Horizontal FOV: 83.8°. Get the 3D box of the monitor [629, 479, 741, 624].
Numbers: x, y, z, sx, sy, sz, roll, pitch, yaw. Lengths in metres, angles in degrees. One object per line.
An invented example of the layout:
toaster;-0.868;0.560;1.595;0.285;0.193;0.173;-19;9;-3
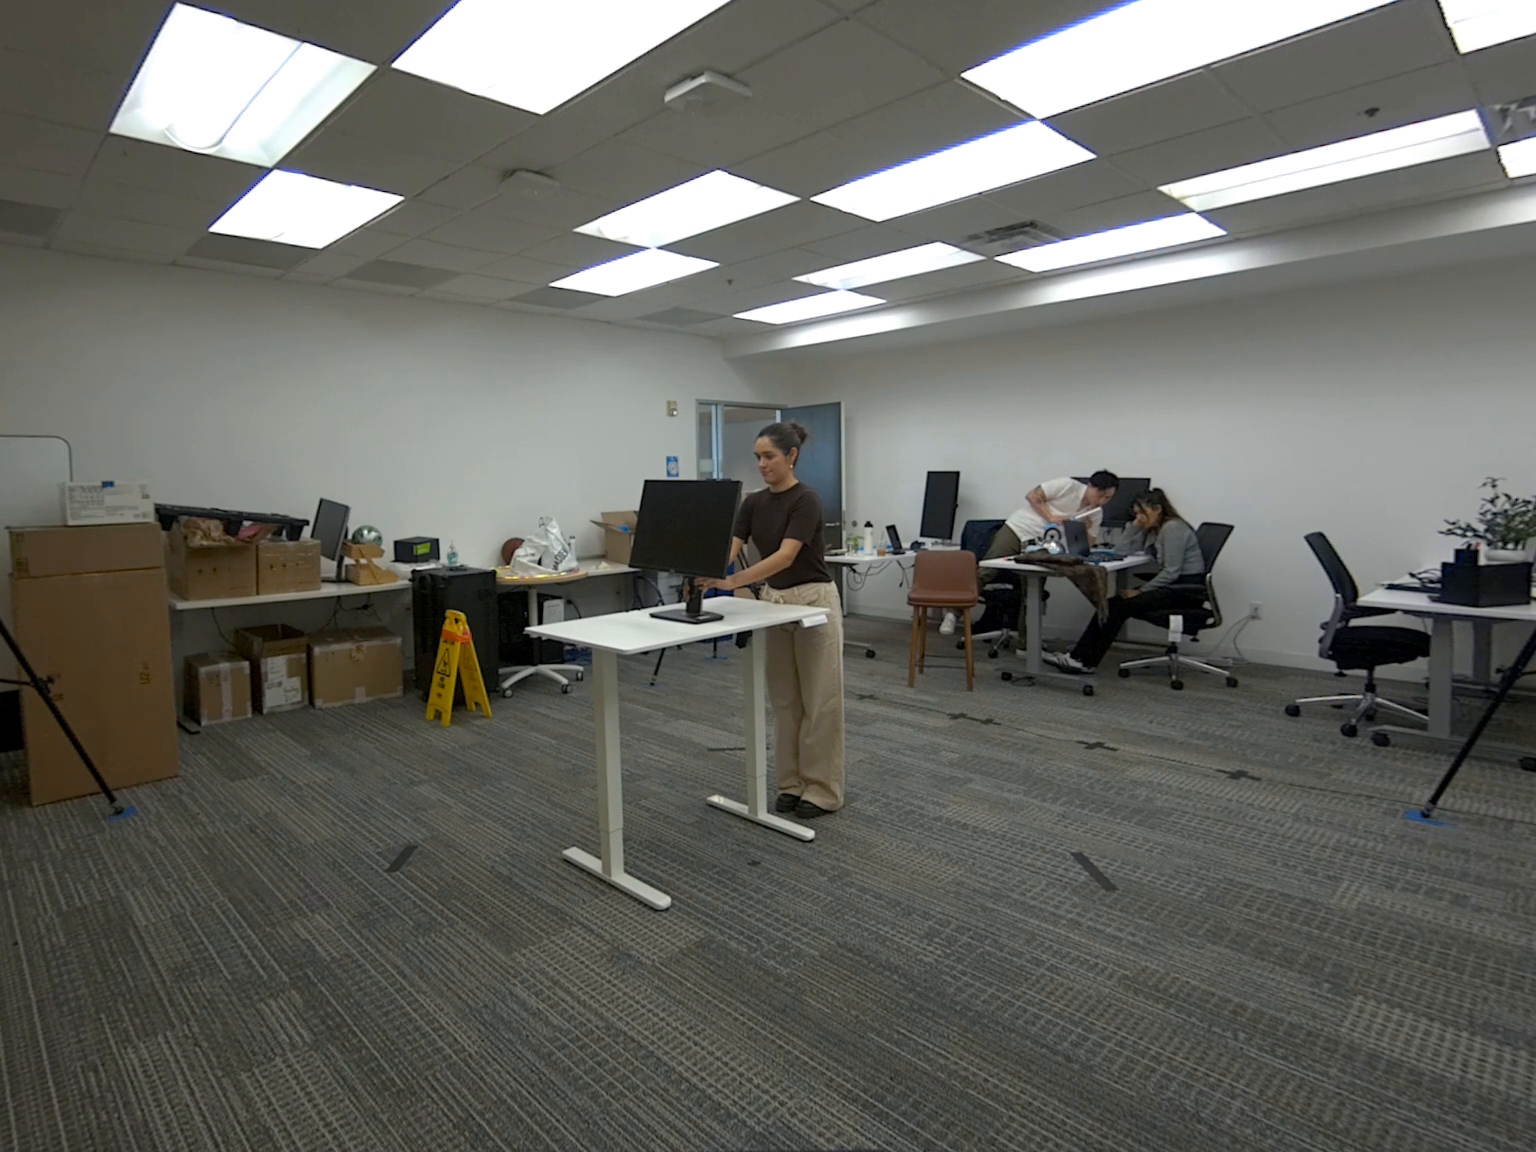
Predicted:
monitor;-0.296;-0.098;3.181;0.547;0.512;0.170;5;10;43
